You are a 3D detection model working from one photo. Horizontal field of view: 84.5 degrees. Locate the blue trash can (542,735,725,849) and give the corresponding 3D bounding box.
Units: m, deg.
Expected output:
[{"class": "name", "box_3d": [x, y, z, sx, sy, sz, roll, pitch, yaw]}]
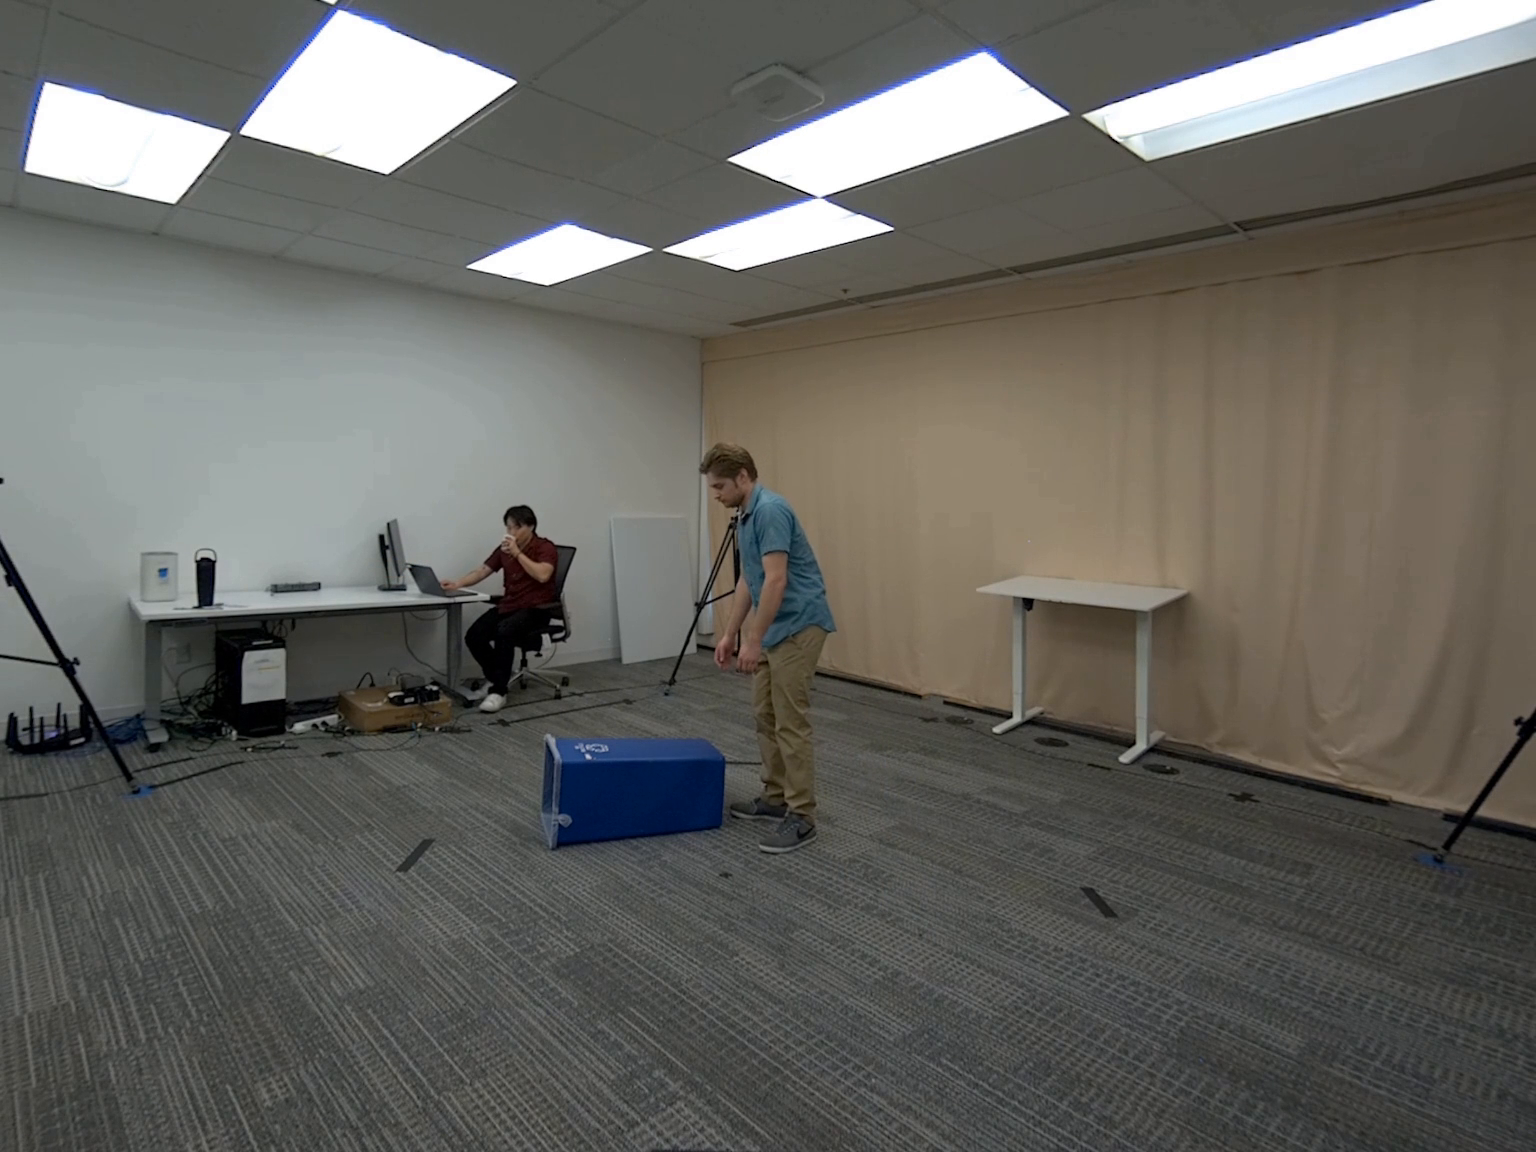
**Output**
[{"class": "blue trash can", "box_3d": [-0.579, 0.887, 3.556, 0.702, 0.377, 0.381, 3, 4, -21]}]
